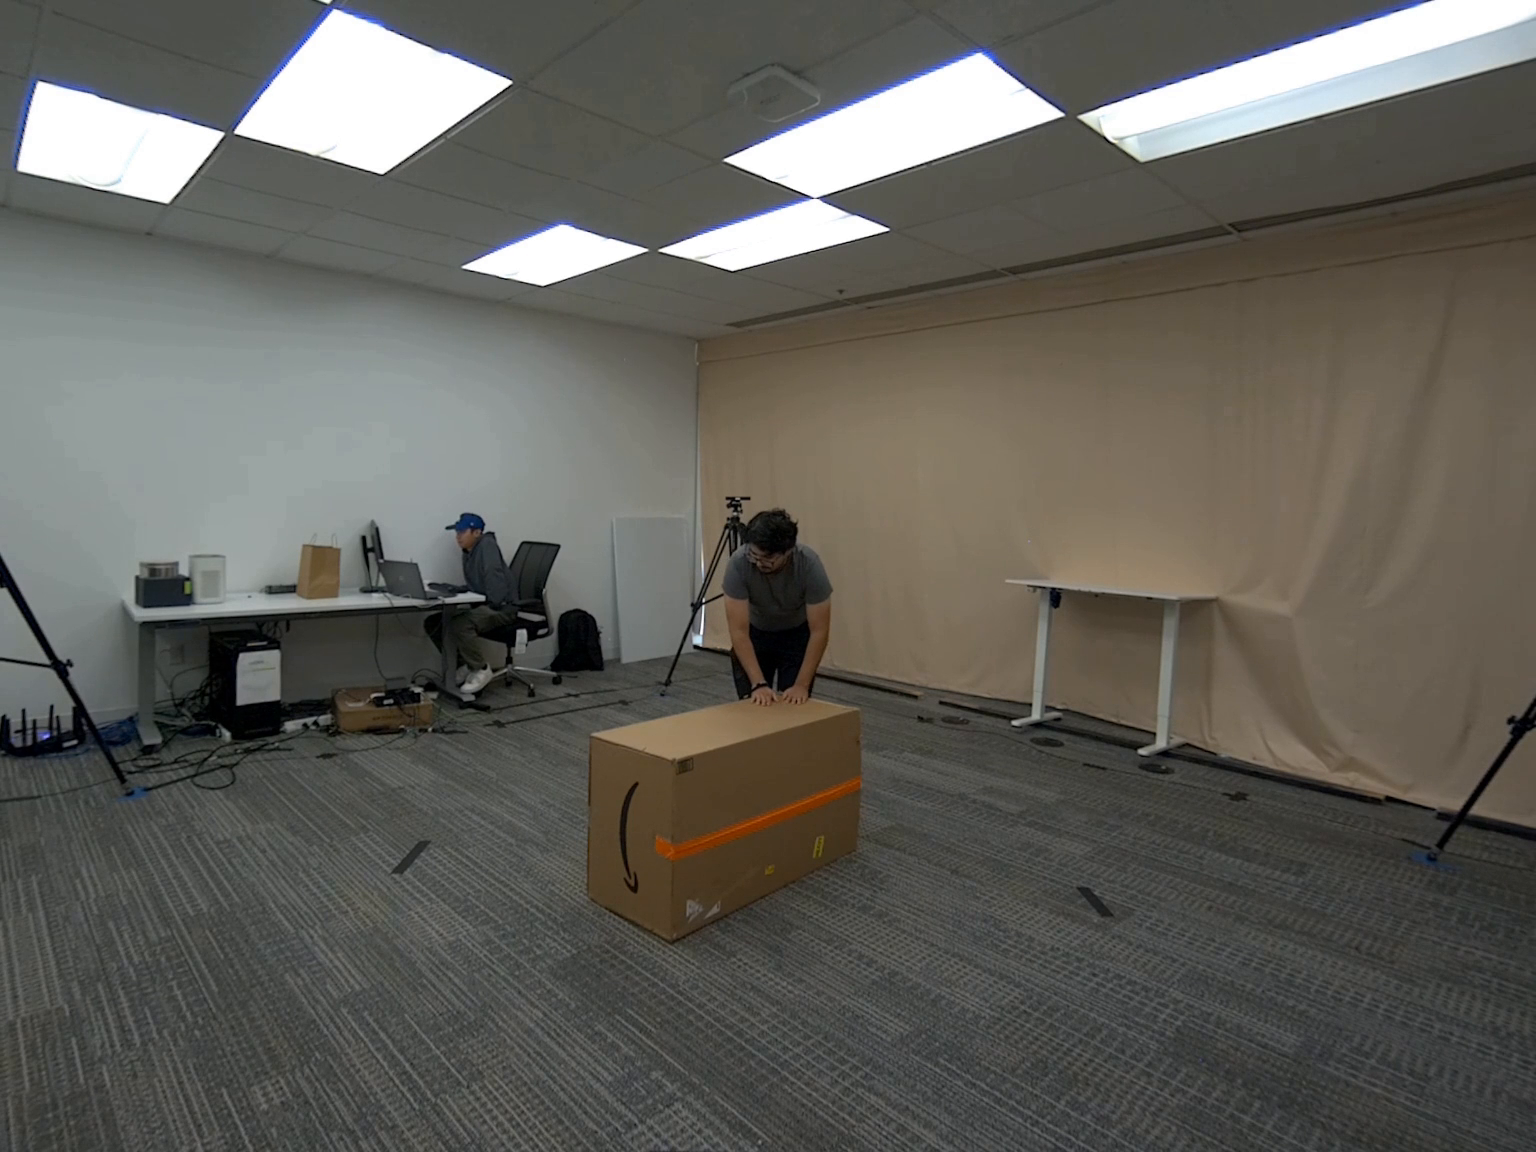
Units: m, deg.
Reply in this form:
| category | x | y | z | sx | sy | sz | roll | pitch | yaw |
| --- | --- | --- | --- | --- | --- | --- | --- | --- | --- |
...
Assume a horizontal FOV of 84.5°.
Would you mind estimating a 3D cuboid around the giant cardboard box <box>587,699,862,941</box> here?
| category | x | y | z | sx | sy | sz | roll | pitch | yaw |
| --- | --- | --- | --- | --- | --- | --- | --- | --- | --- |
| giant cardboard box | -0.132 | 0.818 | 3.106 | 0.437 | 0.576 | 1.003 | 5 | 5 | 41 |
